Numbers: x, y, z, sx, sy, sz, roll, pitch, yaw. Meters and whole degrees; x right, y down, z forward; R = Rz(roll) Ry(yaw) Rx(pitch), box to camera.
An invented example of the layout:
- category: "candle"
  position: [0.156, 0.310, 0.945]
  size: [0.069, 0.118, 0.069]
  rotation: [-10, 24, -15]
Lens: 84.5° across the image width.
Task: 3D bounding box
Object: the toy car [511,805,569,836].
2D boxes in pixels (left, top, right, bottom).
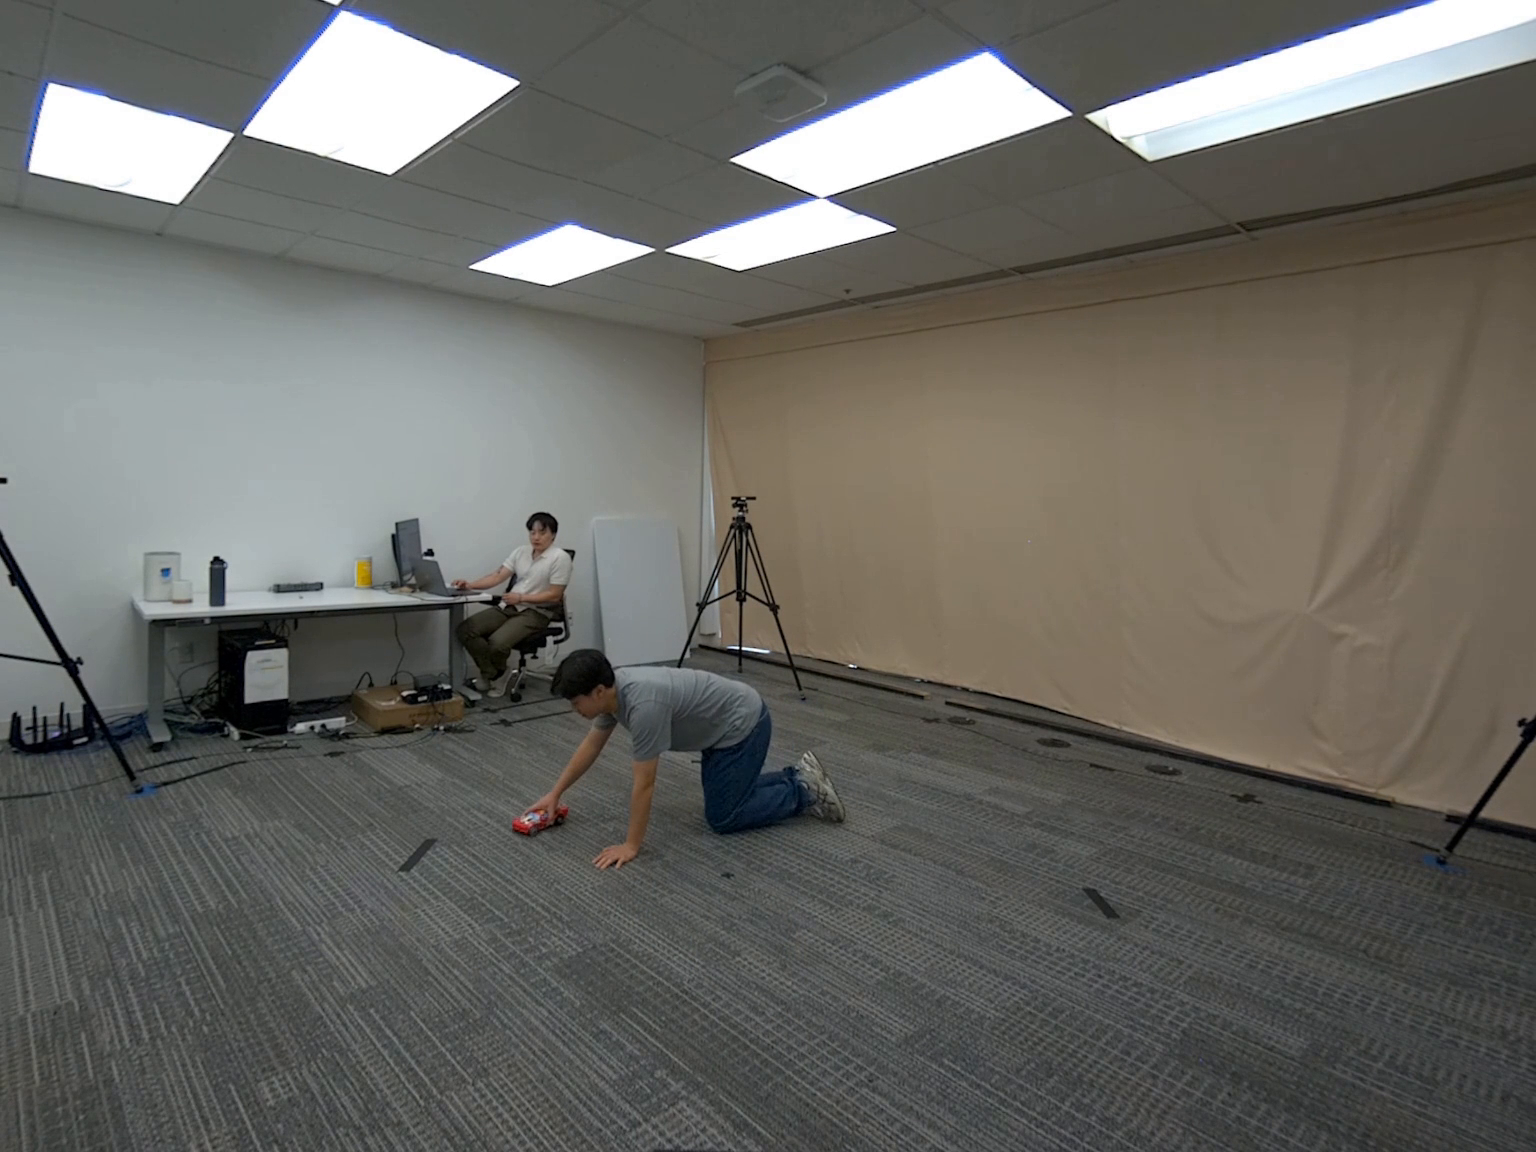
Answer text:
- category: "toy car"
  position: [-0.956, 1.019, 3.529]
  size: [0.133, 0.082, 0.251]
  rotation: [4, 16, 32]
